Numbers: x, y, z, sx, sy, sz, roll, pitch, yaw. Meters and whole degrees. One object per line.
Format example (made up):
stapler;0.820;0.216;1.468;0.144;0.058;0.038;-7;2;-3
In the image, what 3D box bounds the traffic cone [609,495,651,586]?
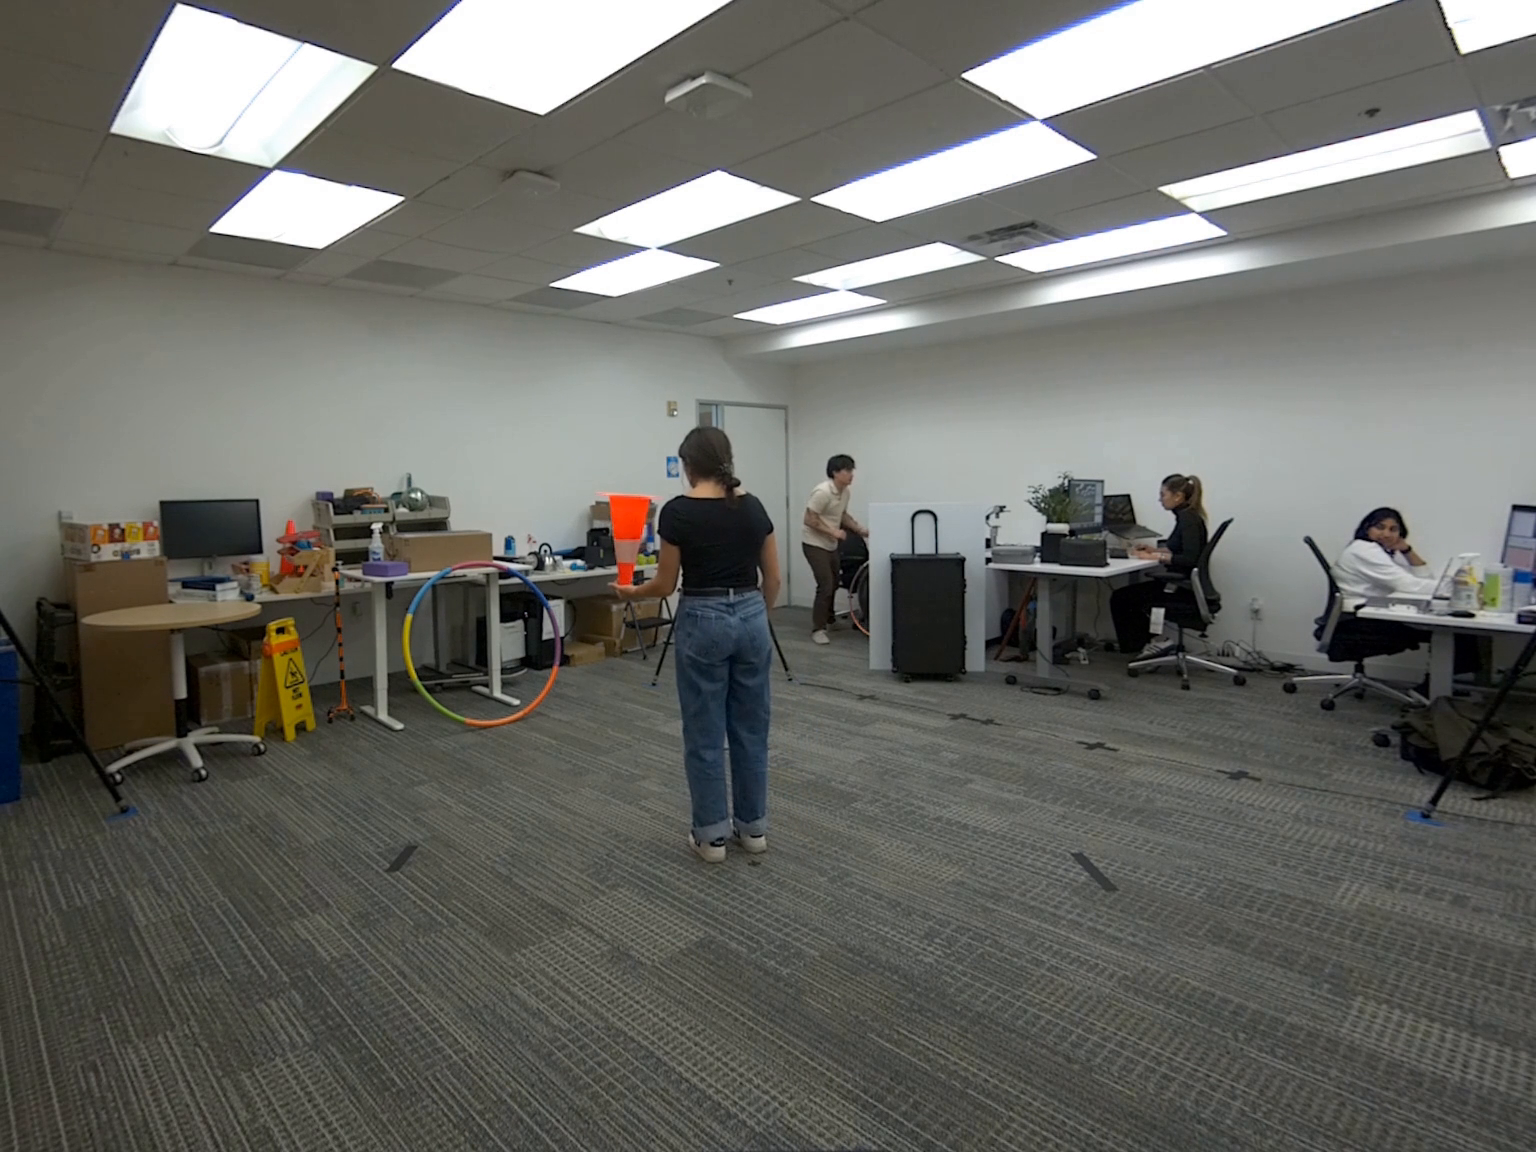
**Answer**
traffic cone;-0.545;-0.117;3.336;0.208;0.382;0.201;7;5;24
